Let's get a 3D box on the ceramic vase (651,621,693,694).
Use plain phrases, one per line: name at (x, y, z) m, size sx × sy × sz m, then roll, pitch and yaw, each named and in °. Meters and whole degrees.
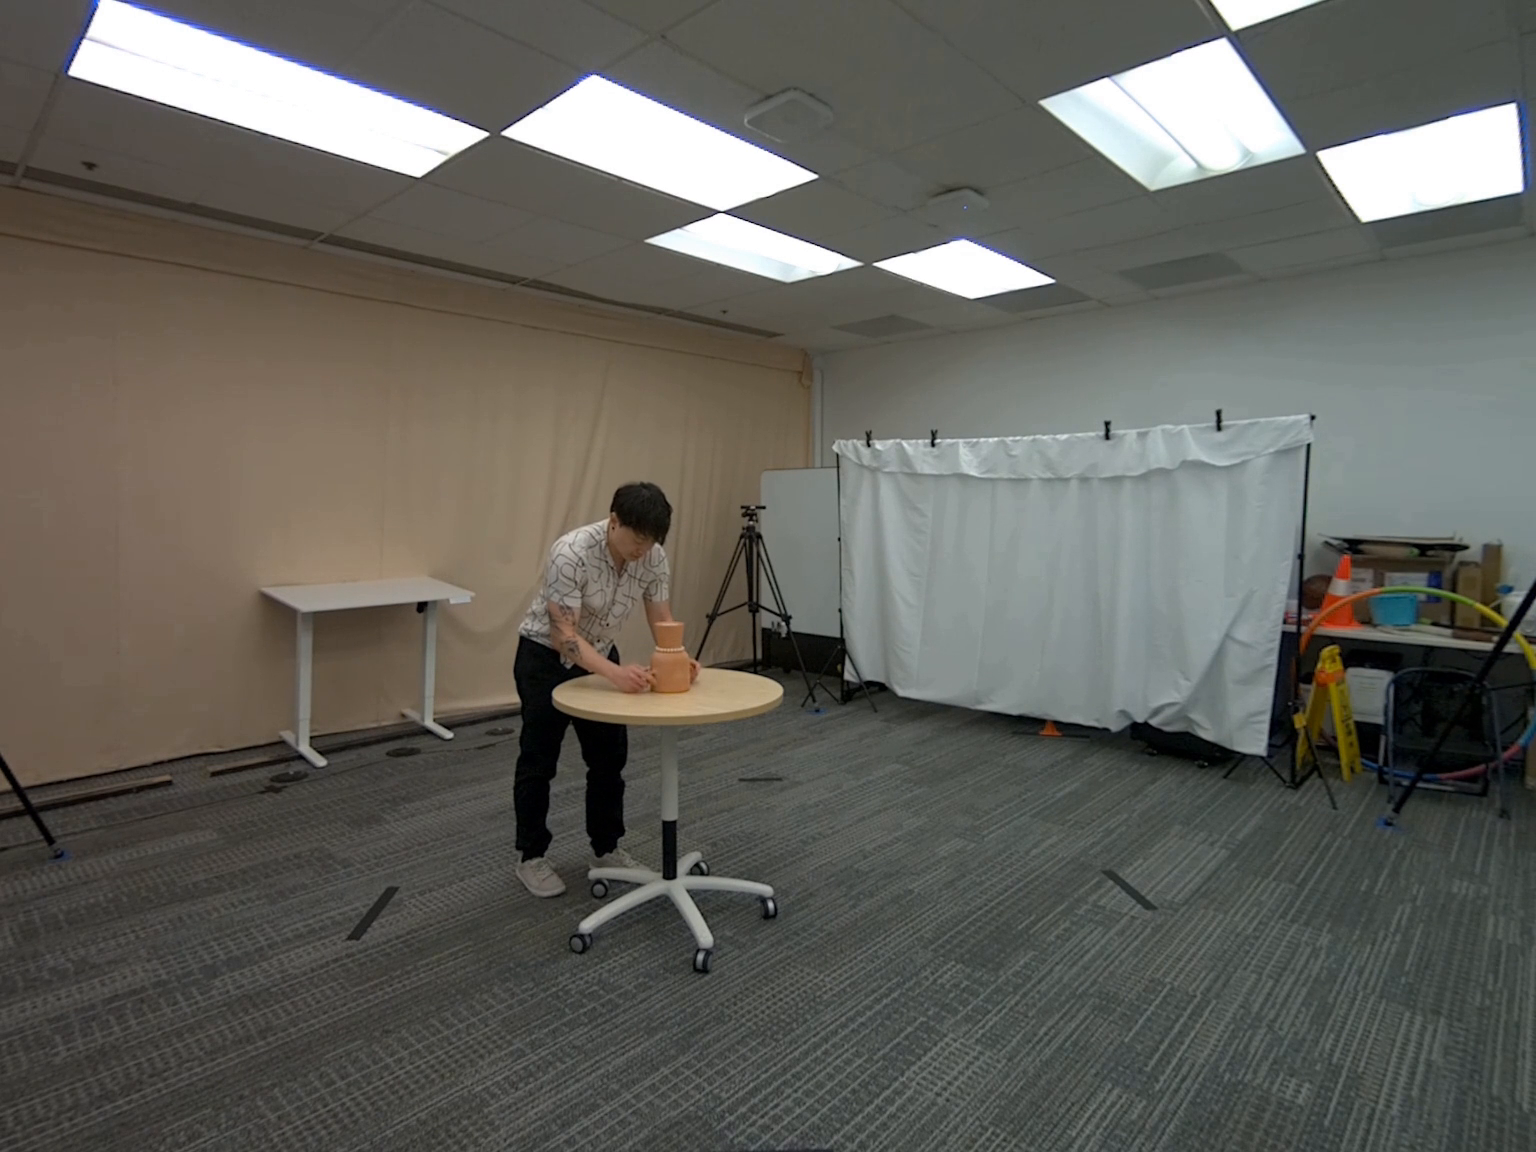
ceramic vase at (-0.325, 0.269, 2.795) m, size 0.136 × 0.219 × 0.157 m, roll -1°, pitch 2°, yaw 8°
